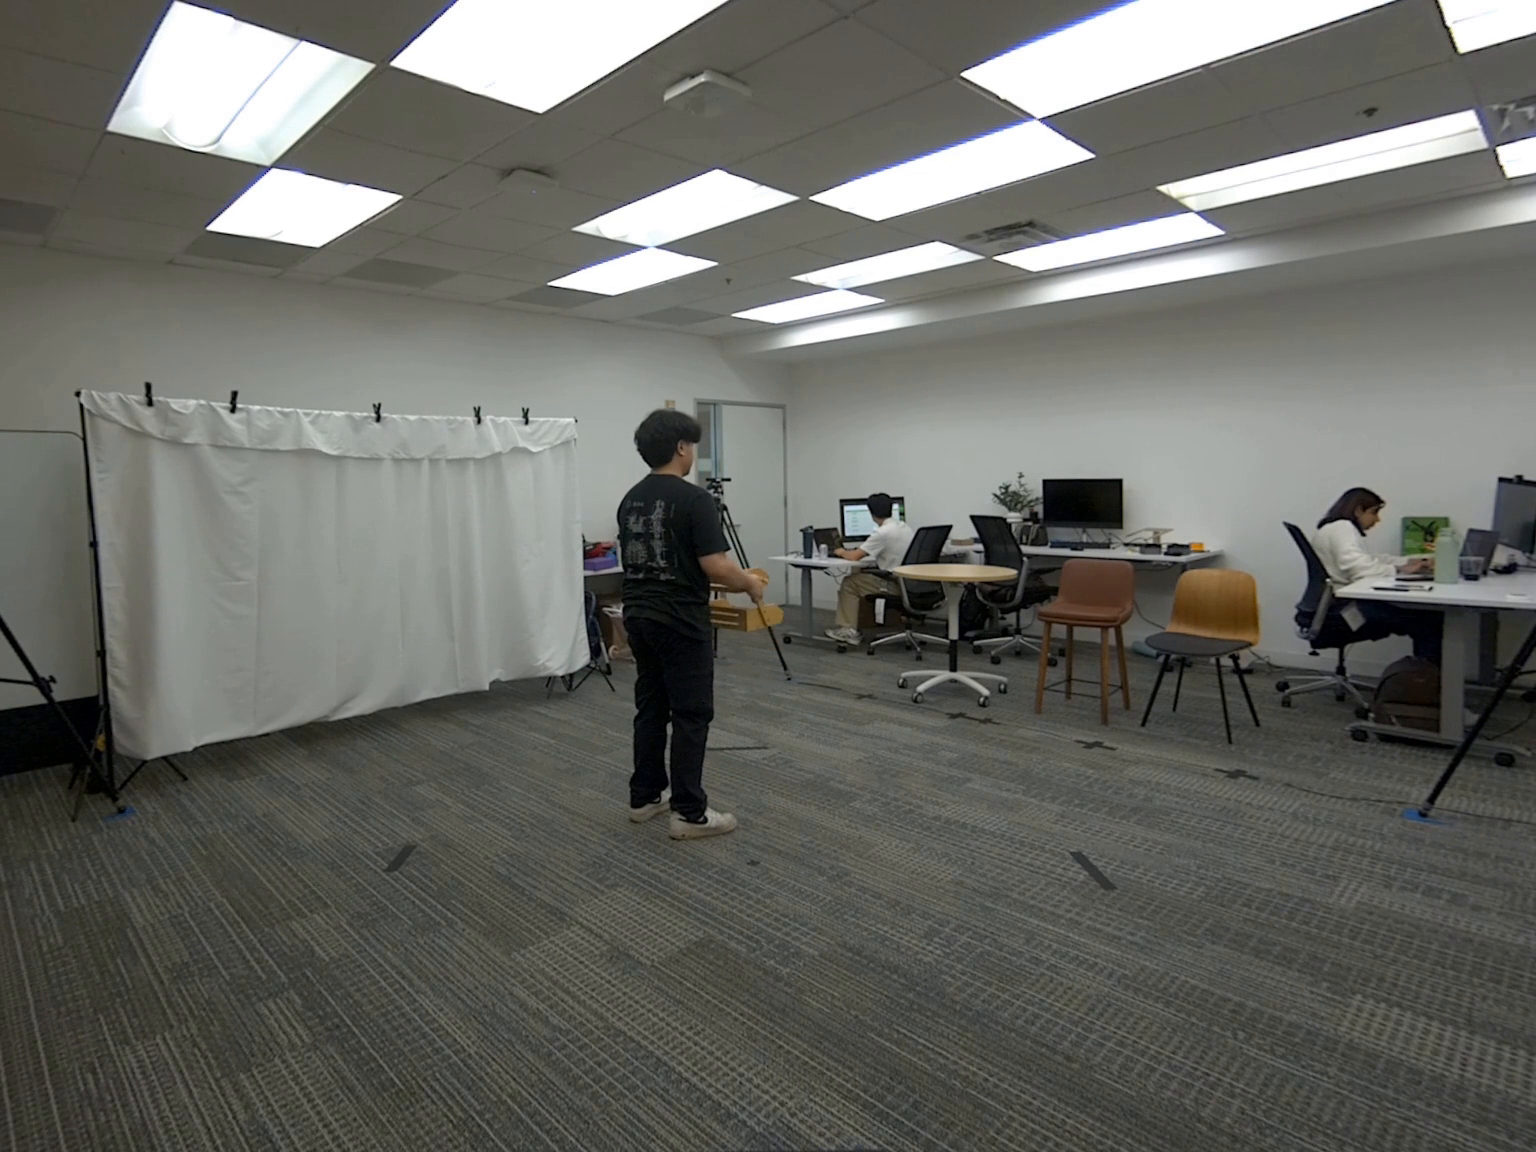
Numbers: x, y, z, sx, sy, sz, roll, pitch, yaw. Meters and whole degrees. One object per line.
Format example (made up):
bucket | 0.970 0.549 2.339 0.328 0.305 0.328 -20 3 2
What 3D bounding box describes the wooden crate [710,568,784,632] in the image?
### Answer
wooden crate | -0.143 0.073 3.712 0.334 0.272 0.295 4 9 39
